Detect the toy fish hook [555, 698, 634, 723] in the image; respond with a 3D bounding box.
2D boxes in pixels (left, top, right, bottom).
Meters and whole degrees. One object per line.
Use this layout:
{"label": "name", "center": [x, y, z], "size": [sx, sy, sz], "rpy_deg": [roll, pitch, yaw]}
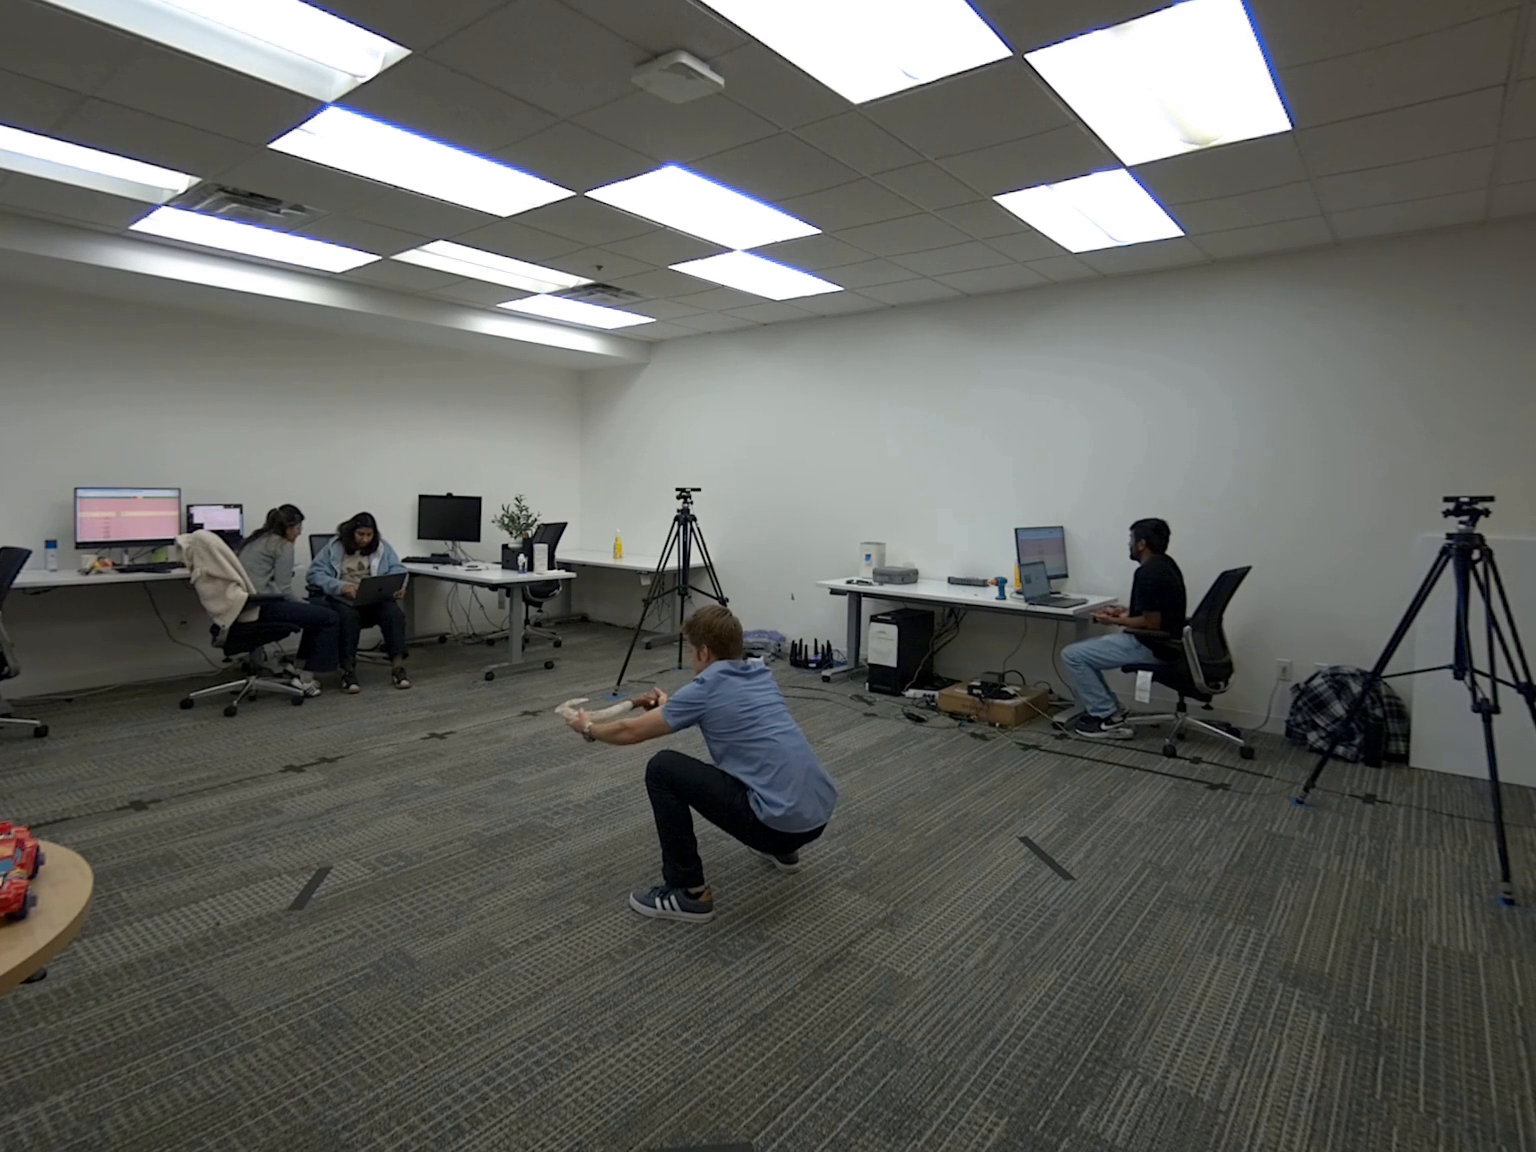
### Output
{"label": "toy fish hook", "center": [-0.639, 0.512, 3.419], "size": [0.233, 0.048, 0.491], "rpy_deg": [17, 14, 37]}
